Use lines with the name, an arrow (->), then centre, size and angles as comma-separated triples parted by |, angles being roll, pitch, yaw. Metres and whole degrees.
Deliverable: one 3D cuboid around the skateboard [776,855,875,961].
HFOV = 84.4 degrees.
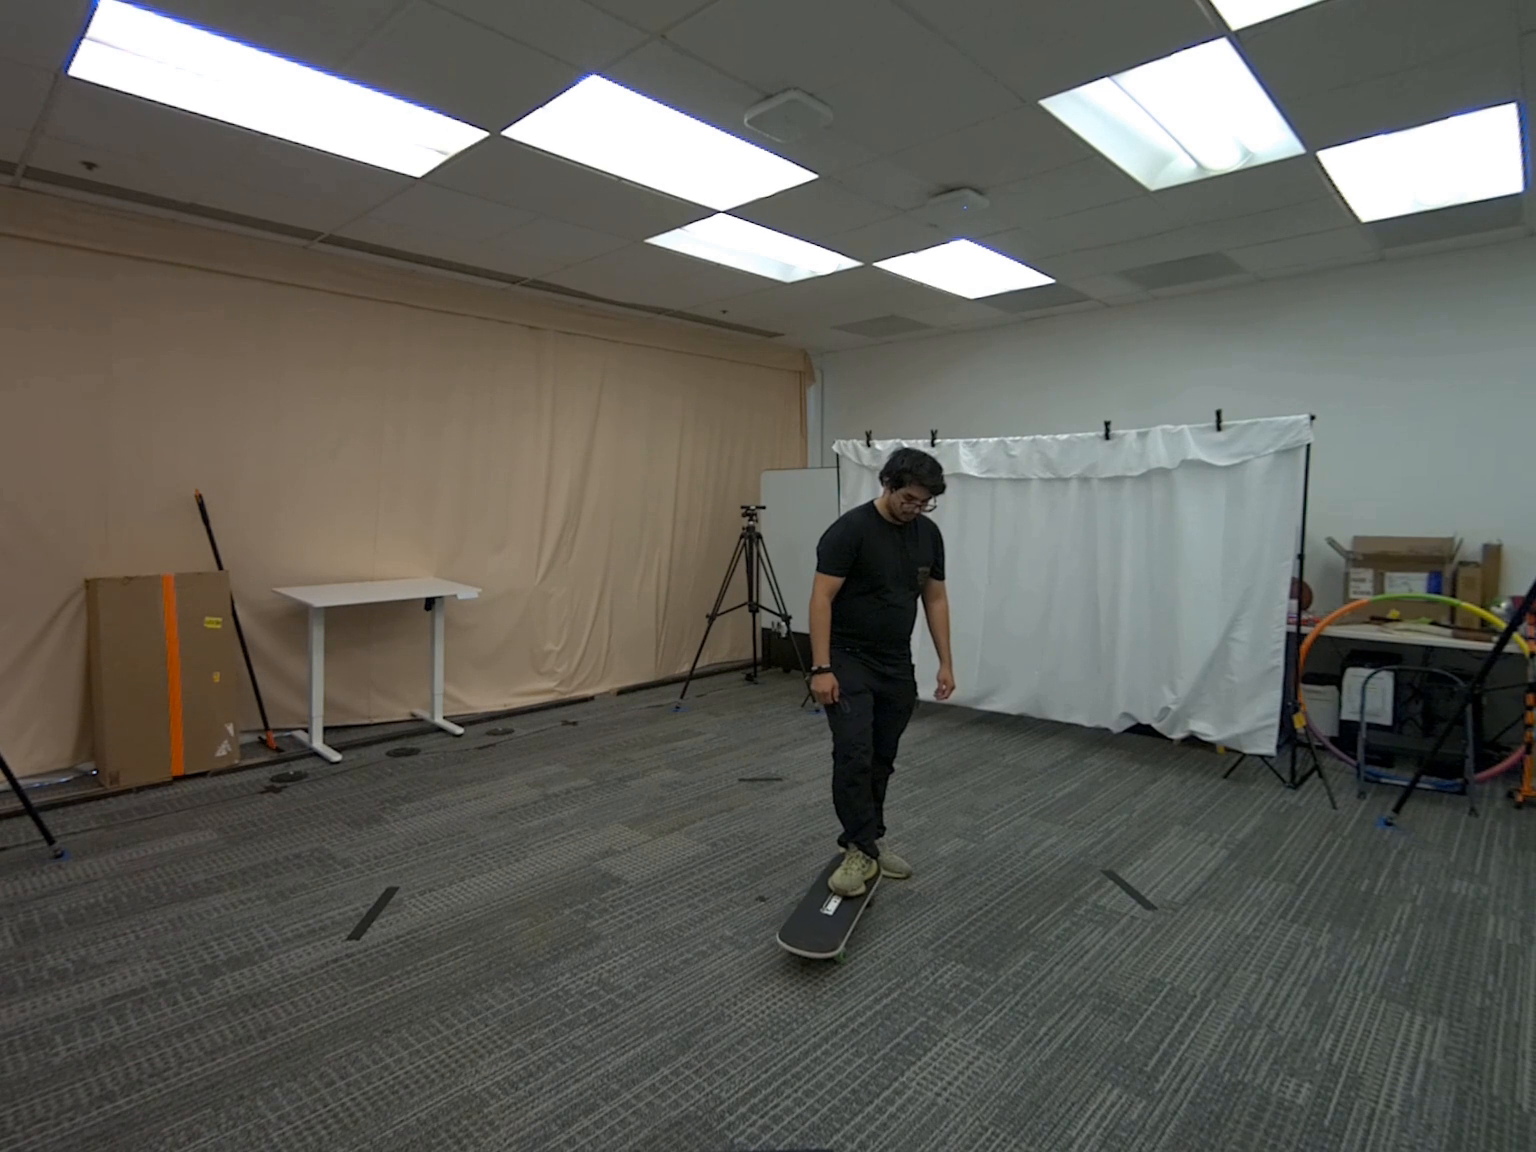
skateboard -> 0.223, 1.106, 2.773 | 0.198, 0.110, 0.769 | 6, 5, 20
